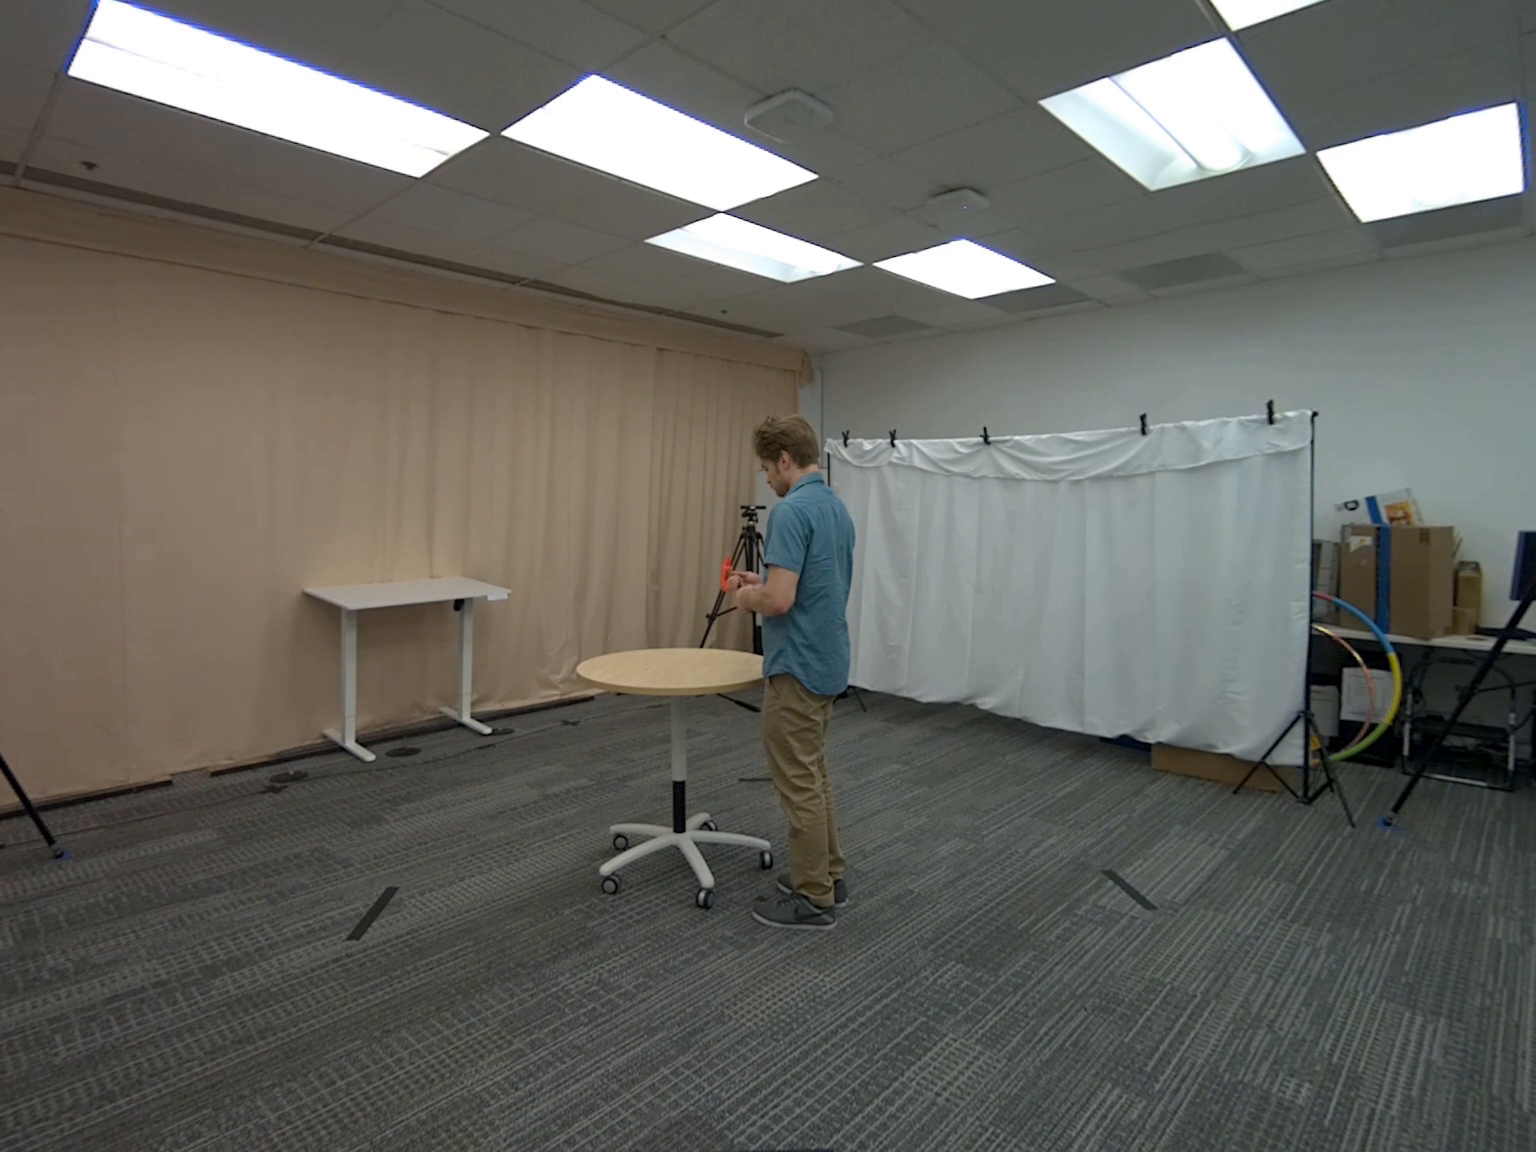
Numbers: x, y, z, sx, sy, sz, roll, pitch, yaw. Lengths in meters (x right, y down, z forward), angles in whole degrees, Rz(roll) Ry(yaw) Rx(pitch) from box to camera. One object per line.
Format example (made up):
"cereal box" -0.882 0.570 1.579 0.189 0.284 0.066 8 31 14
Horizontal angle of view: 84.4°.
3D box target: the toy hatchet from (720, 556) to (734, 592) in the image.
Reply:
"toy hatchet" -0.113 0.048 3.028 0.029 0.130 0.278 9 32 -27
